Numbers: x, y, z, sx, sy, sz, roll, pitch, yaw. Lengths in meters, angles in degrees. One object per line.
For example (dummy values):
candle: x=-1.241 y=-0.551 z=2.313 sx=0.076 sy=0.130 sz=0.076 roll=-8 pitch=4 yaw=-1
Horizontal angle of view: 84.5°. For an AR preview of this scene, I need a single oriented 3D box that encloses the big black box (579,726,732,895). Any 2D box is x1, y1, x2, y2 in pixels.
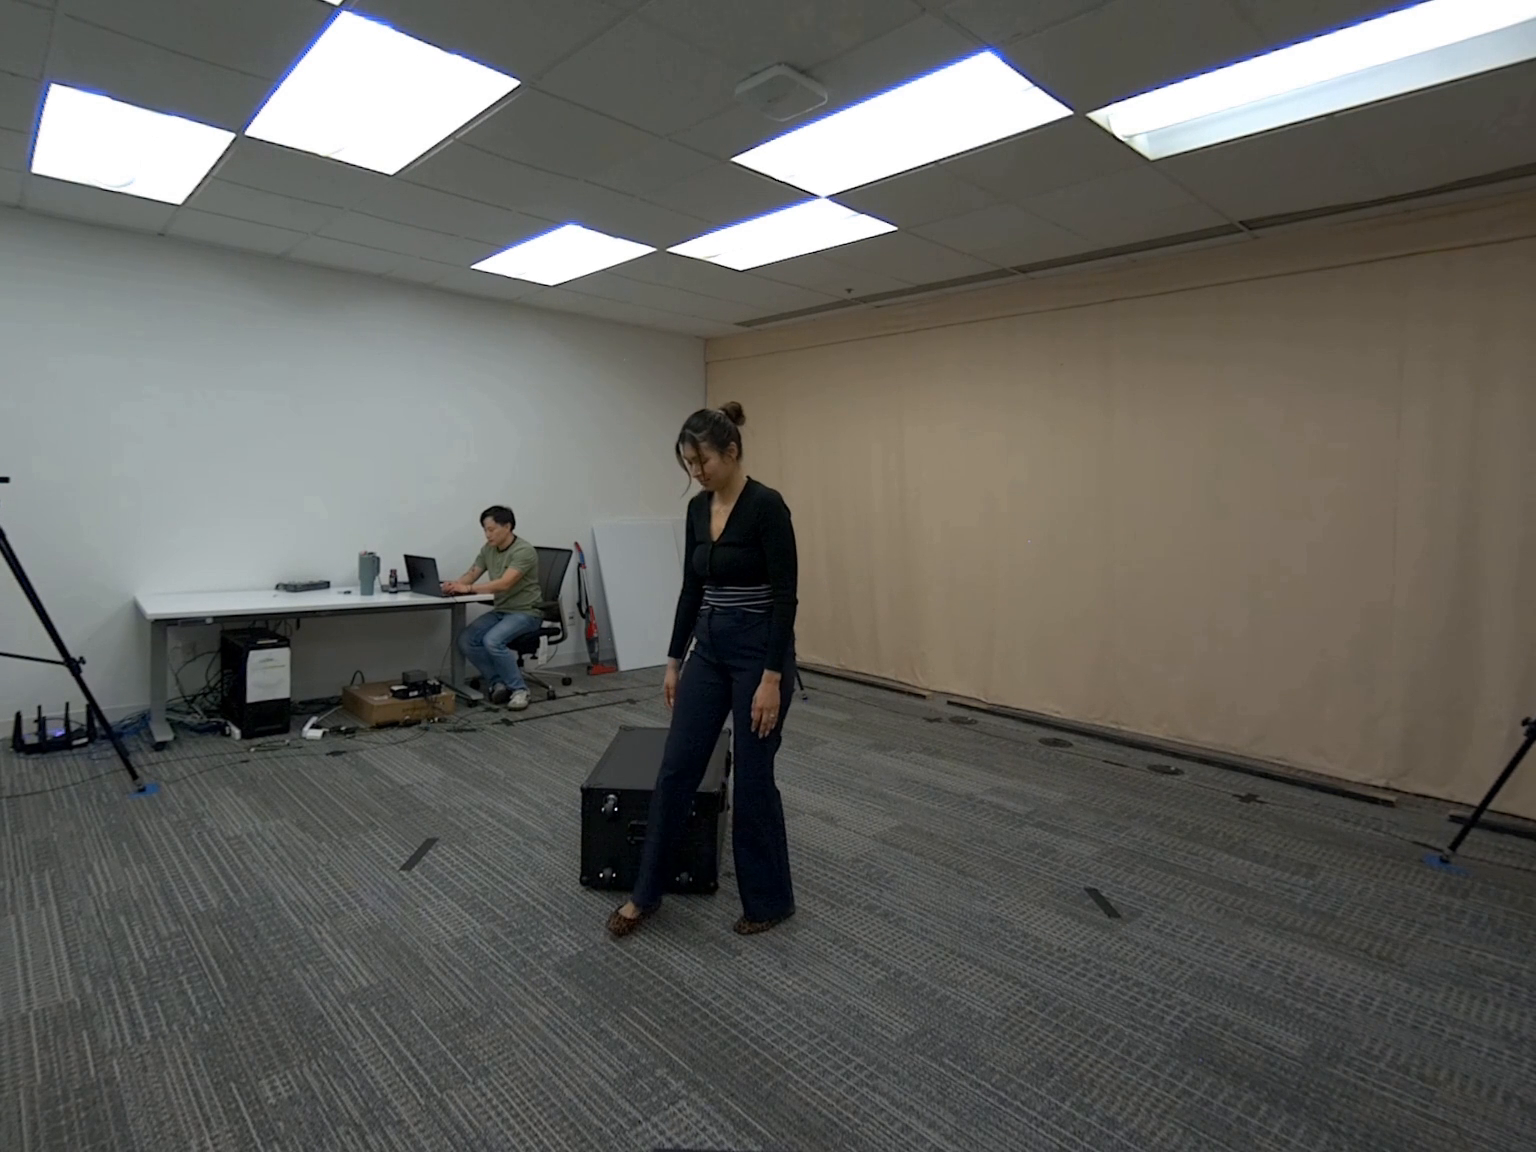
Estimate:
big black box: x=-0.423 y=0.887 z=3.276 sx=0.522 sy=0.395 sz=0.863 roll=2 pitch=5 yaw=0
